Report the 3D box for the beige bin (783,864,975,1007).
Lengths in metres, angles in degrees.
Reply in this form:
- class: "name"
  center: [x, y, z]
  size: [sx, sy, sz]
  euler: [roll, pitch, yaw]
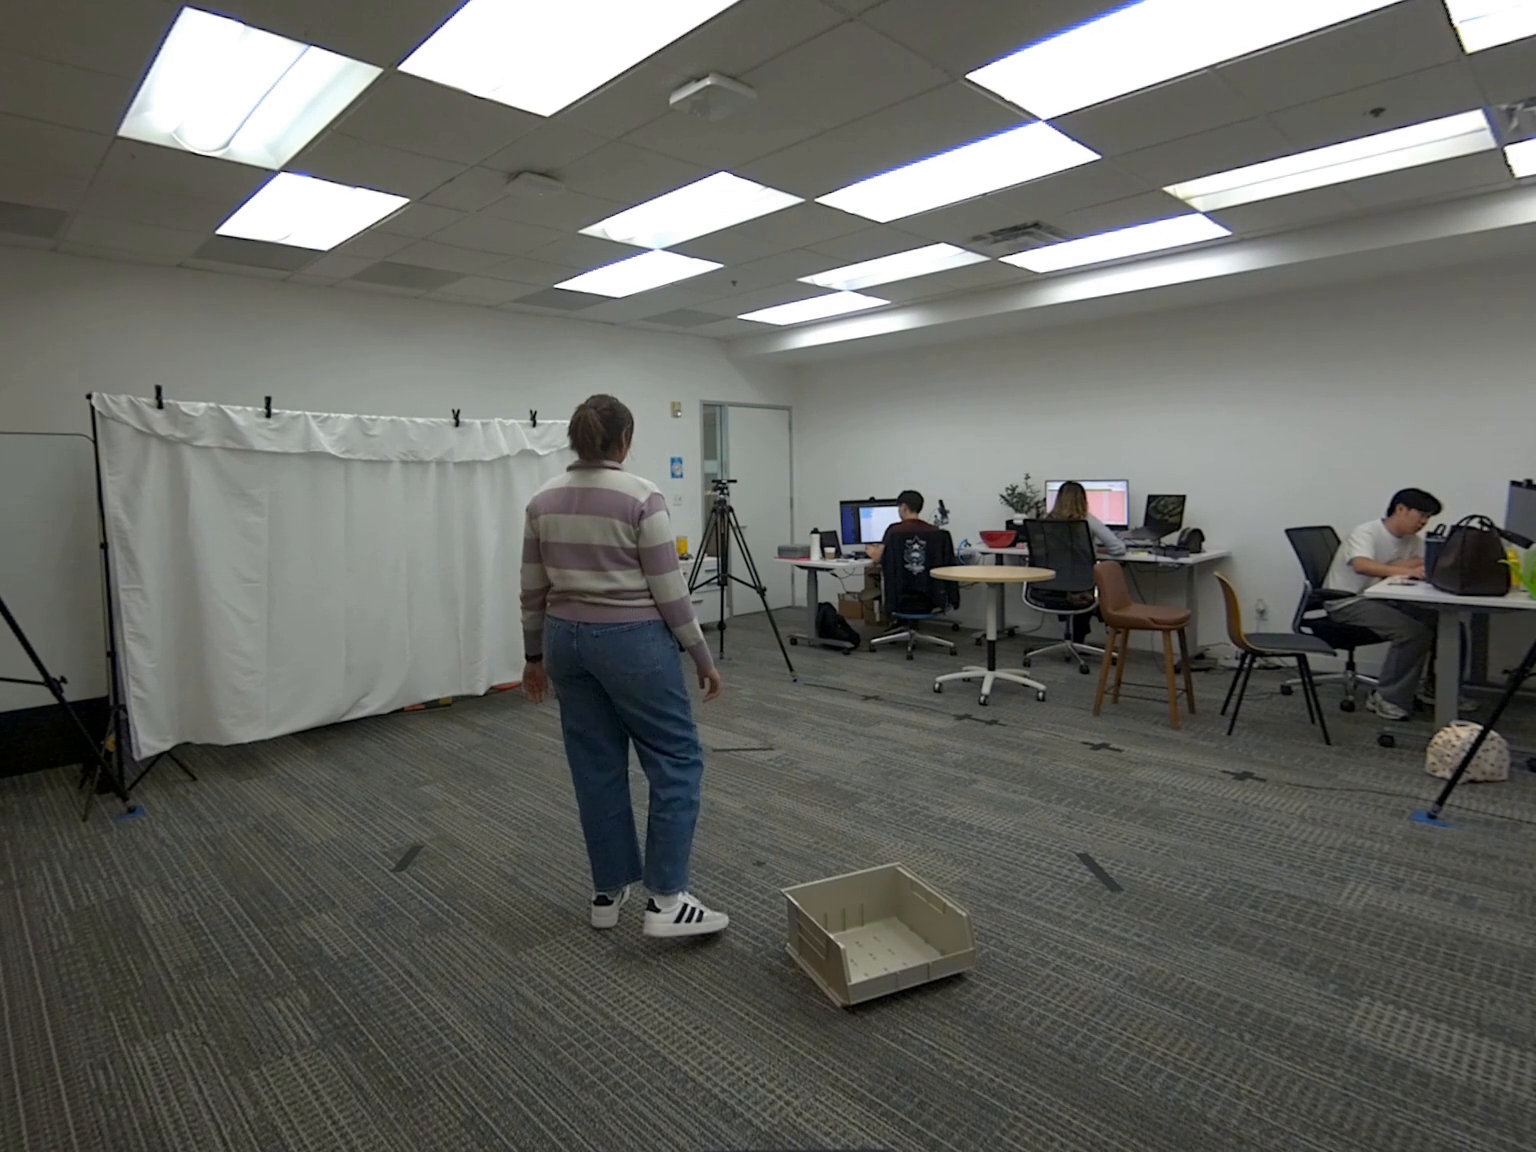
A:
- class: "beige bin"
  center: [0.314, 1.026, 2.450]
  size: [0.414, 0.188, 0.386]
  euler: [-4, 6, -24]
